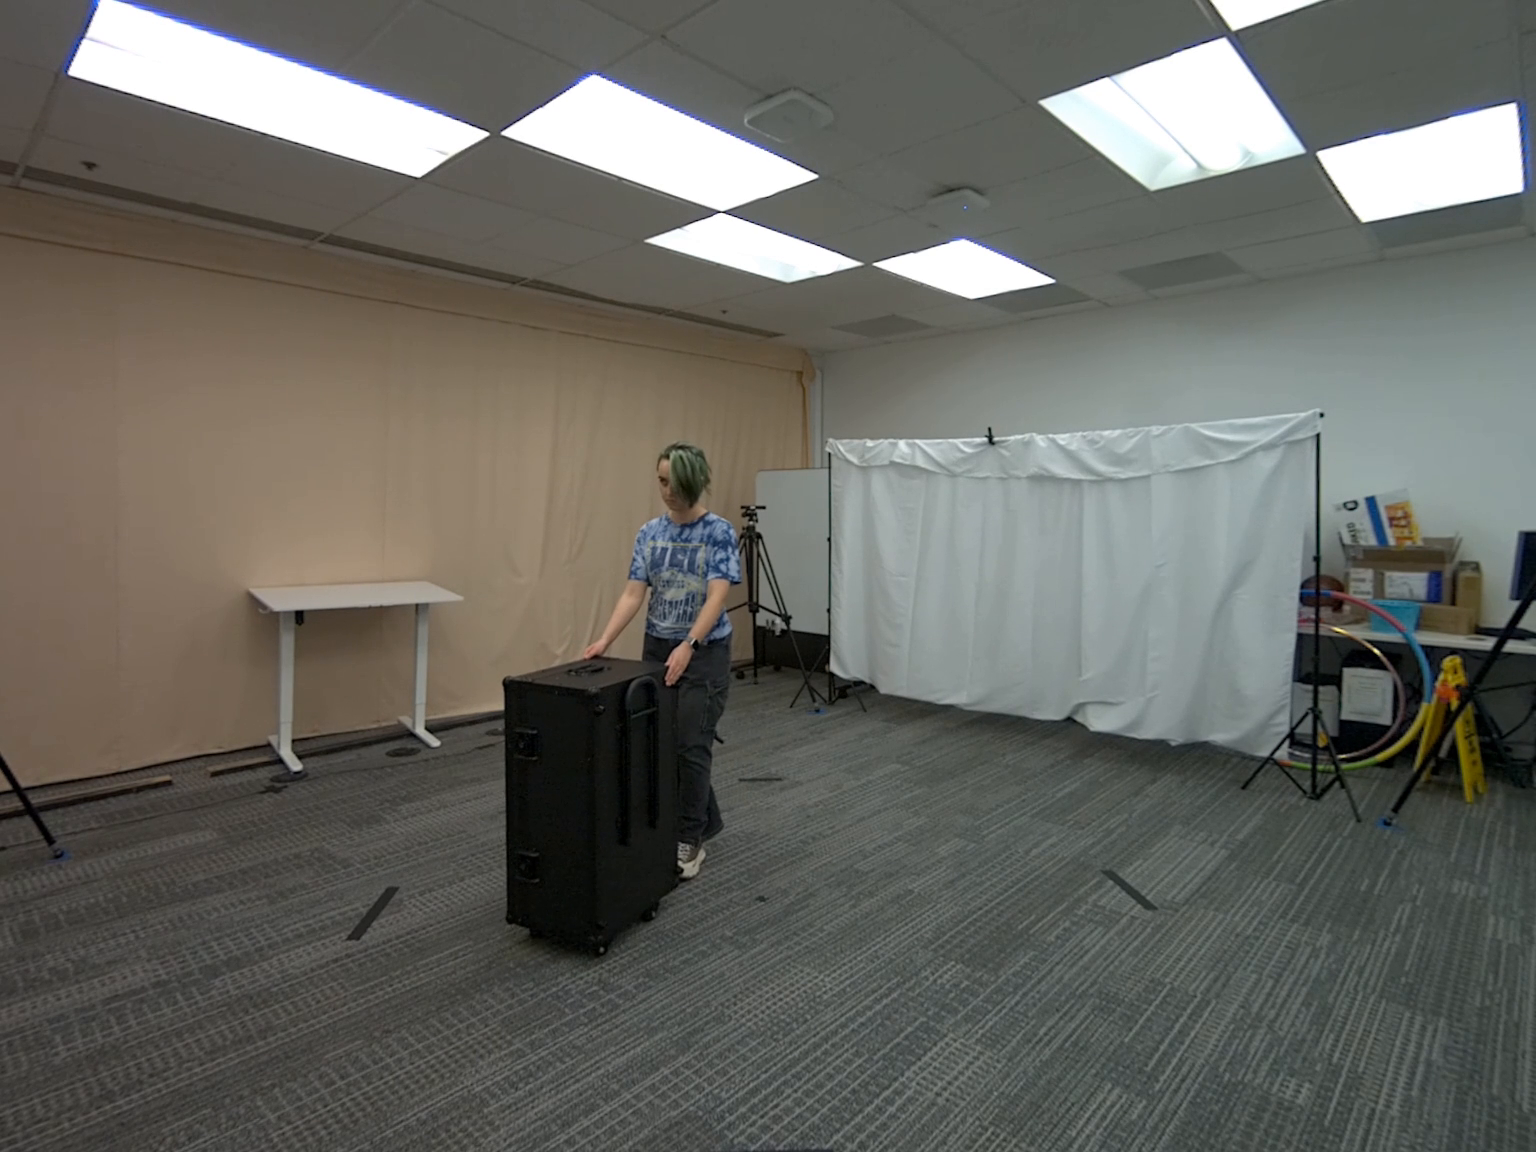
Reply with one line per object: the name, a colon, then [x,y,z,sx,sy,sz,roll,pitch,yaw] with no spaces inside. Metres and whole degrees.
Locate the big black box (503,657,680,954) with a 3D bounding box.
big black box: [-0.561,0.740,2.794,0.407,0.860,0.508,2,3,26]
